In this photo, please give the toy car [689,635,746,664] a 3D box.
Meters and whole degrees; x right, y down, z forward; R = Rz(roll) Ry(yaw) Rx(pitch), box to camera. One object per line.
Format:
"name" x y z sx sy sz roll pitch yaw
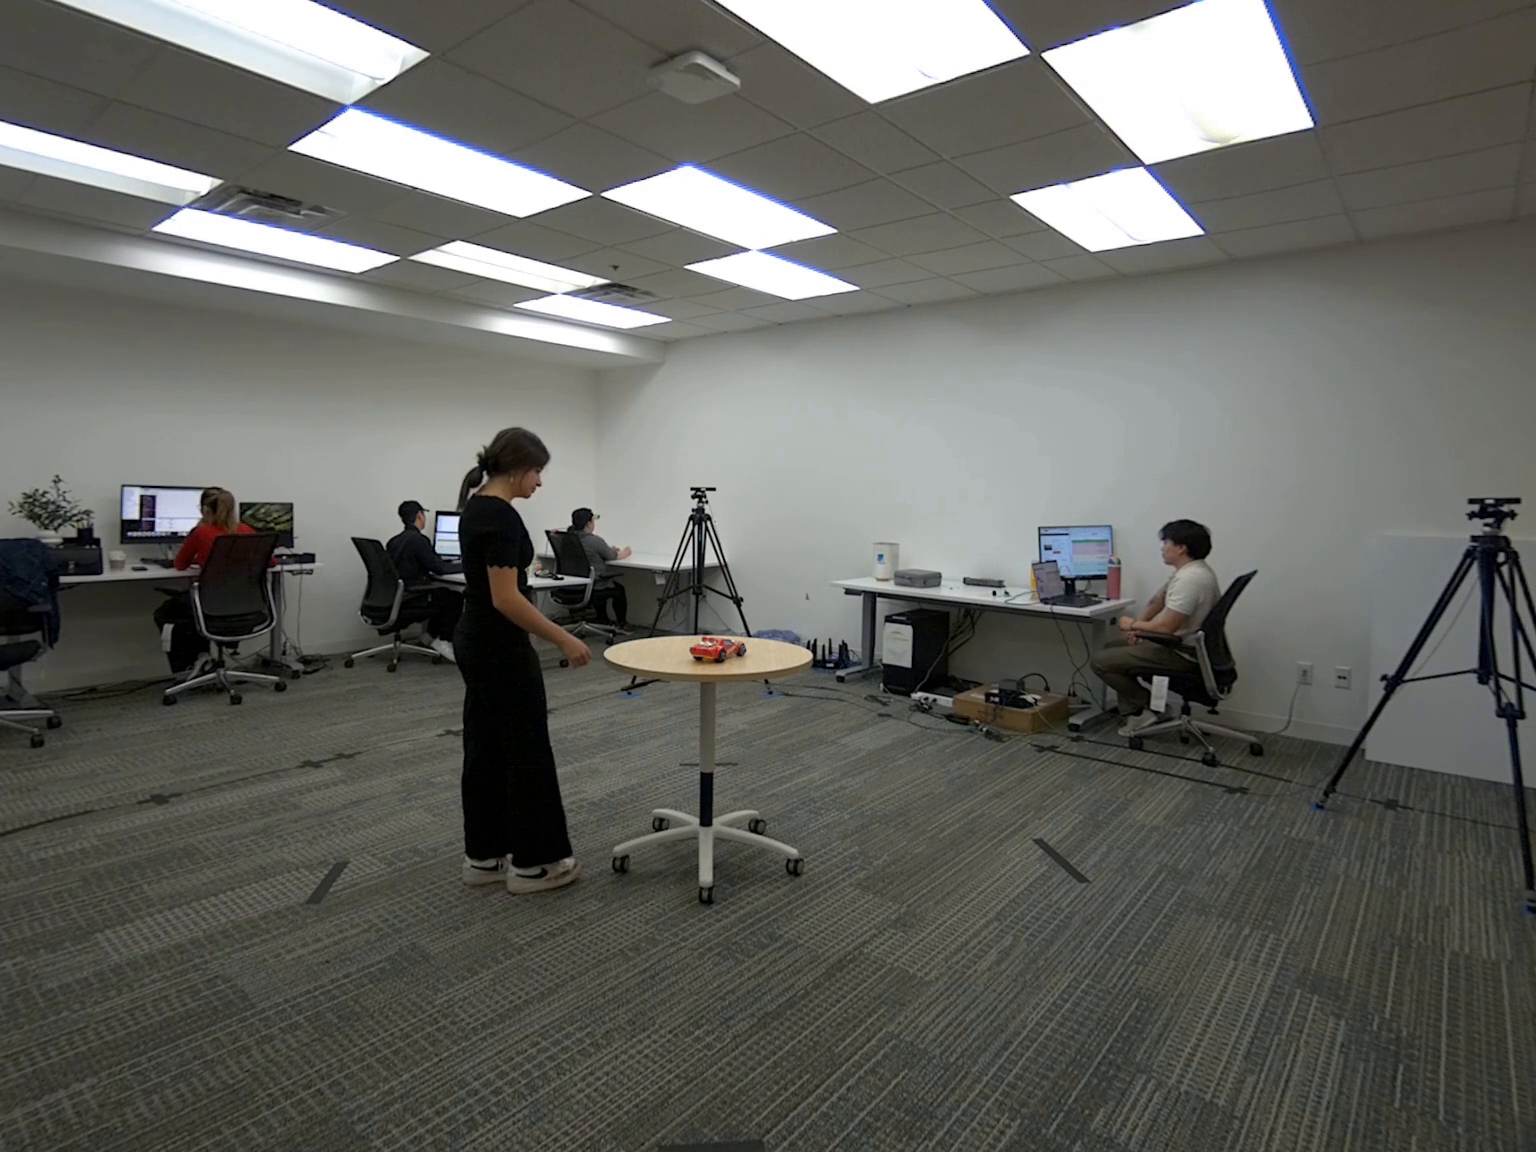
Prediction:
"toy car" -0.193 0.262 3.008 0.134 0.084 0.246 2 -6 29
